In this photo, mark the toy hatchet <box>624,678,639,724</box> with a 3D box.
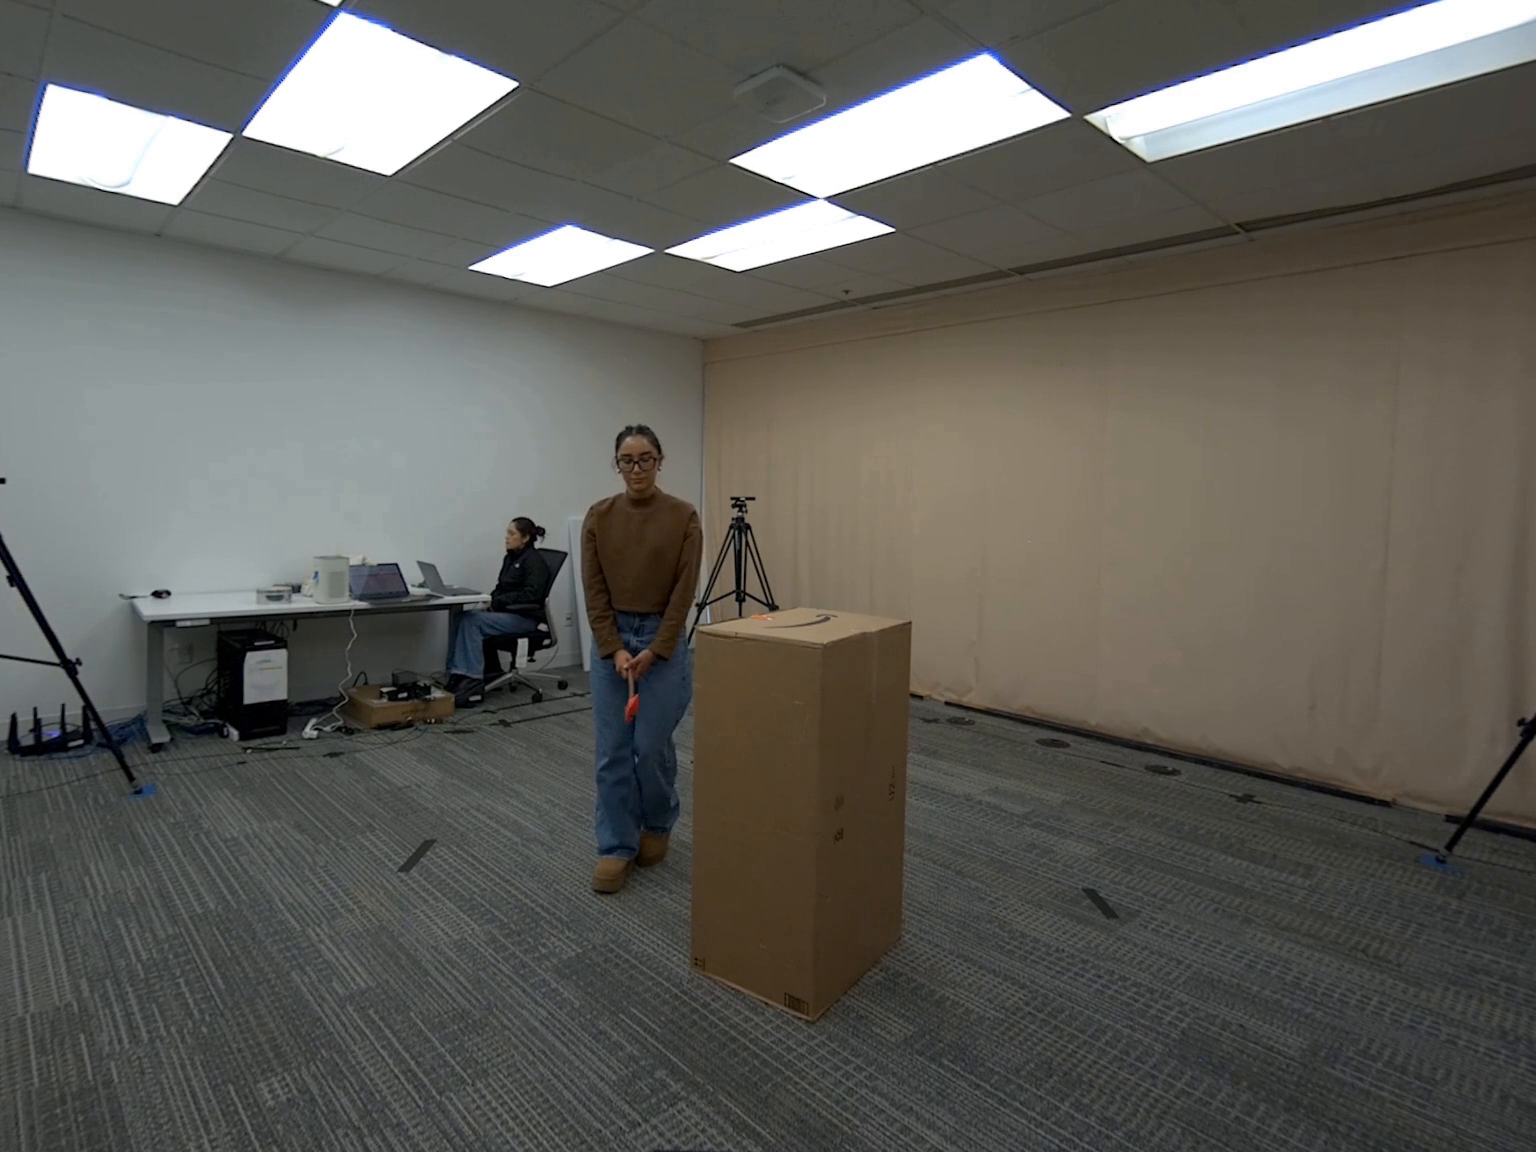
[{"bbox_3d":[-0.470,0.404,2.884,0.029,0.130,0.275,11,16,-12],"label":"toy hatchet"}]
